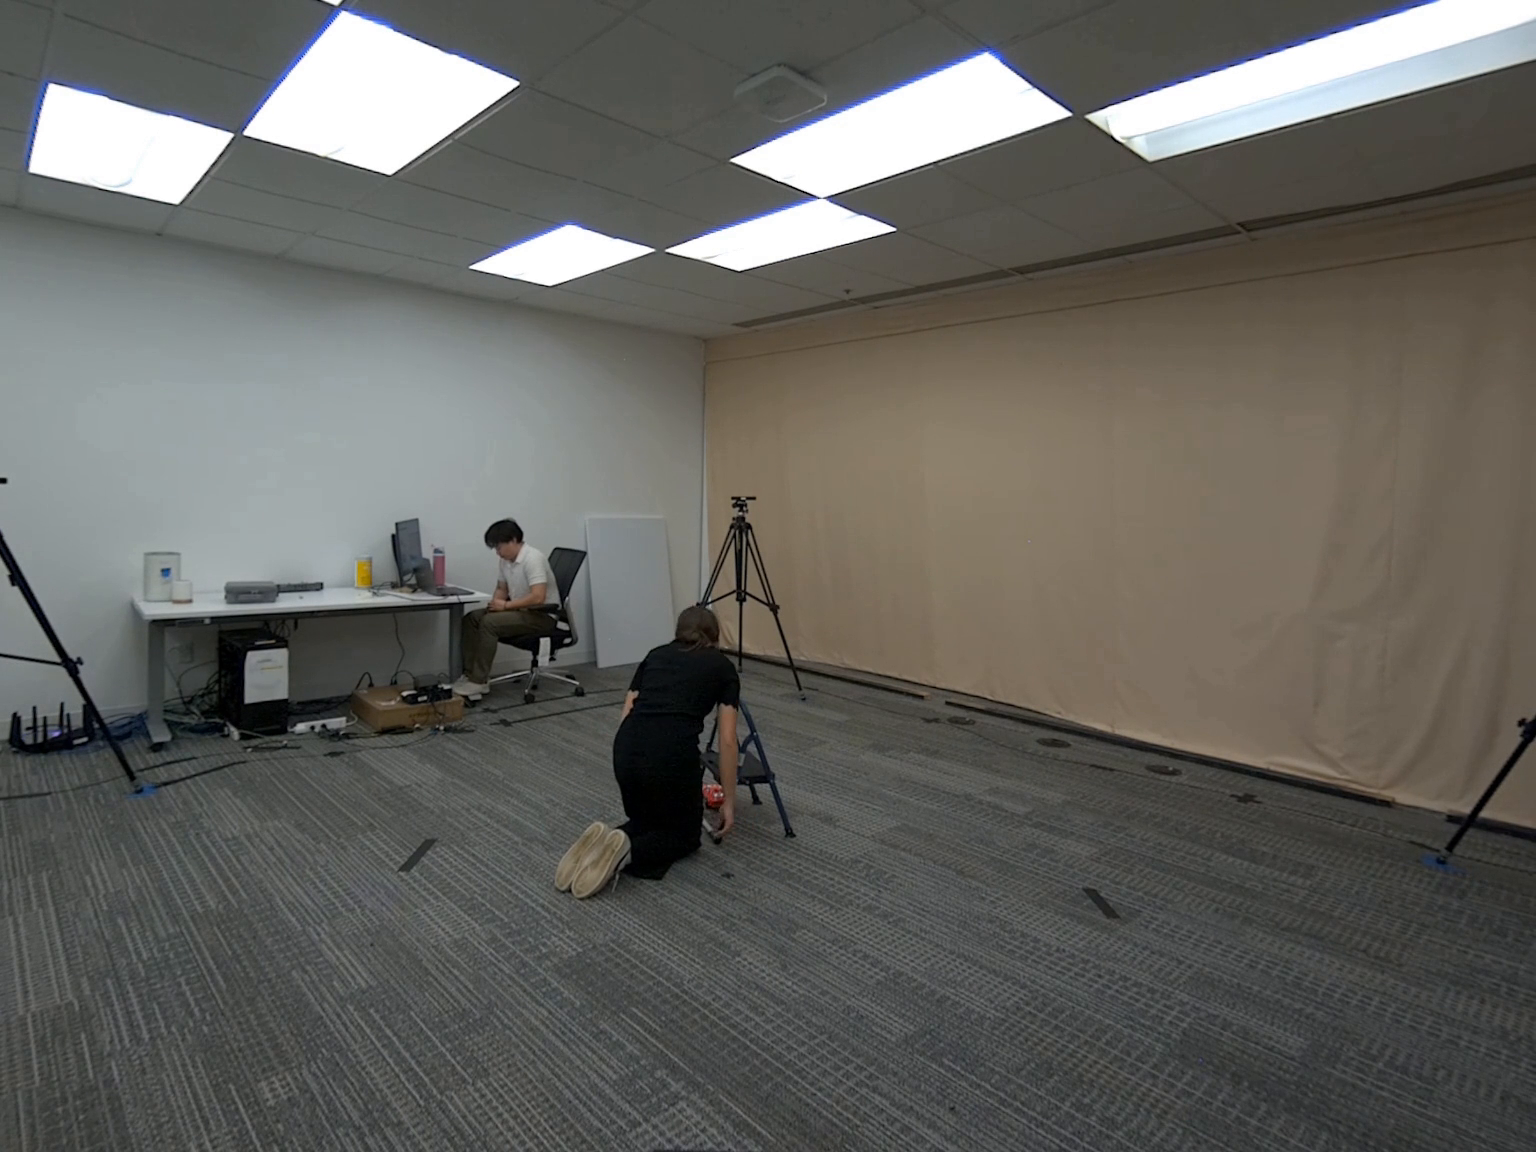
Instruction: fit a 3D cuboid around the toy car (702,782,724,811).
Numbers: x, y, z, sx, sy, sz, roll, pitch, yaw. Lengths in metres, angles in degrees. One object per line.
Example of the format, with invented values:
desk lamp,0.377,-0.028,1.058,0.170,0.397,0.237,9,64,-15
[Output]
toy car,-0.251,1.011,3.858,0.129,0.083,0.256,2,-5,-13
